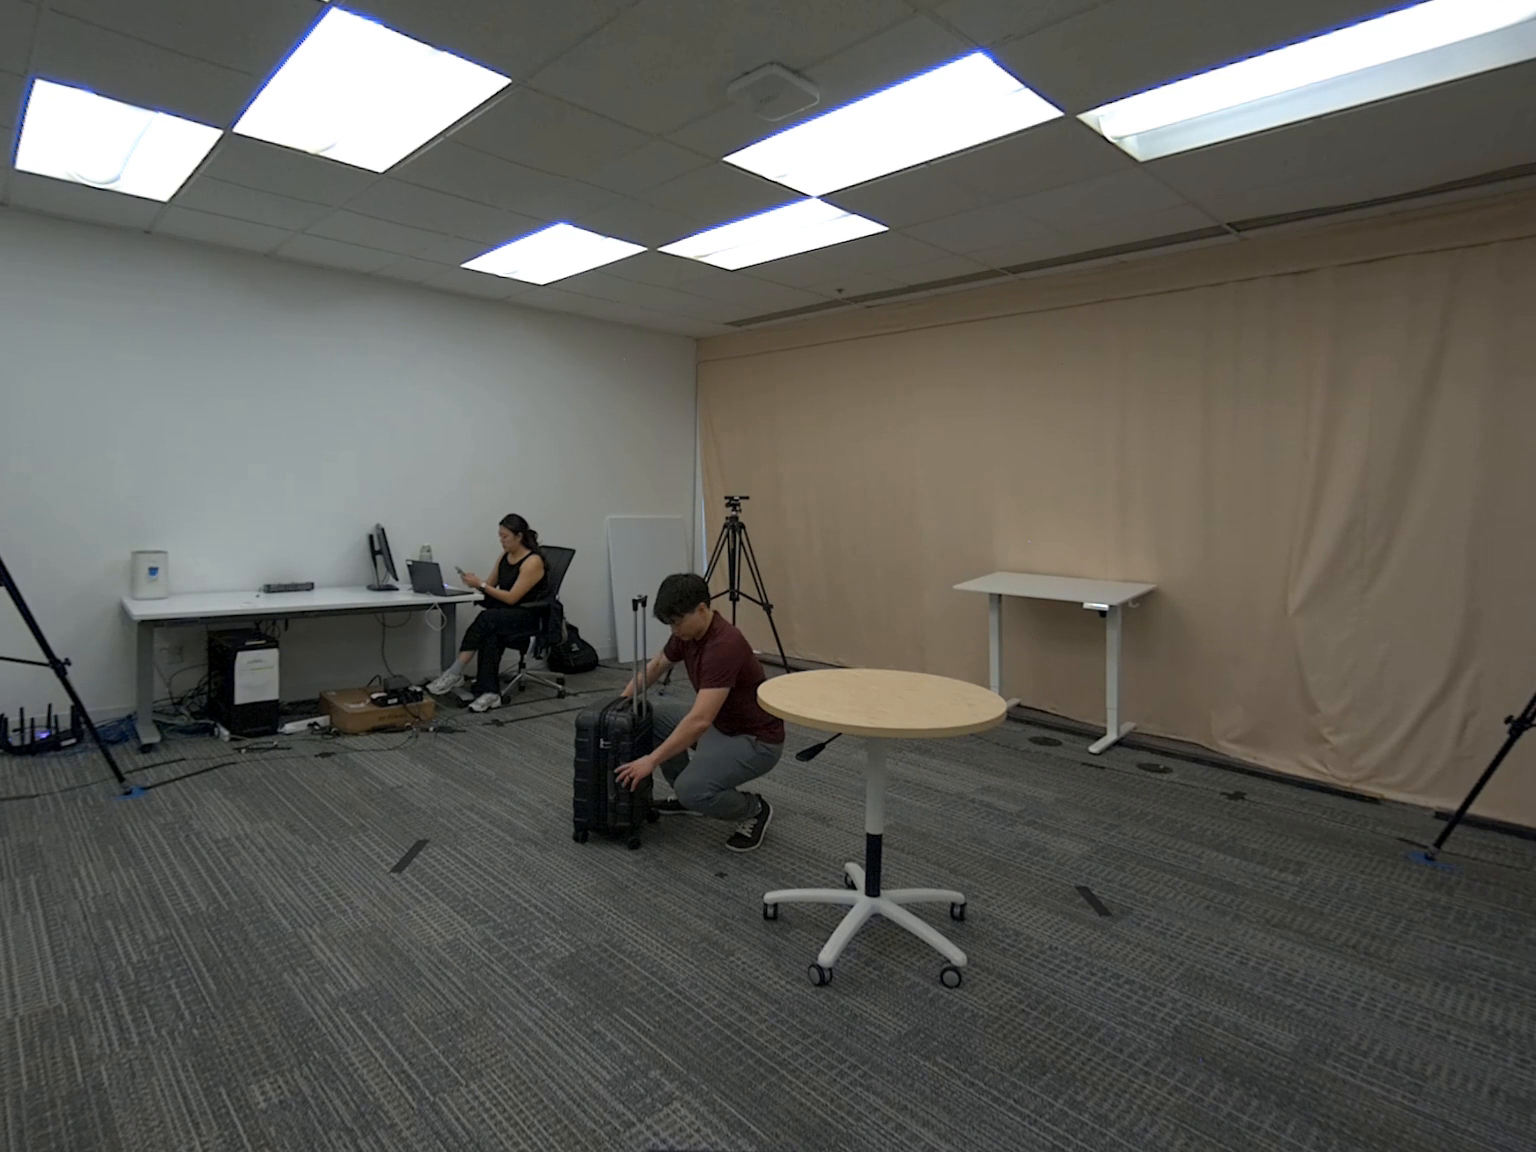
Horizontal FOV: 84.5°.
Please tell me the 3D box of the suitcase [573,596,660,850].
[{"bbox_3d":[-0.632,0.580,3.460,0.259,0.977,0.381,0,2,11],"label":"suitcase"}]
